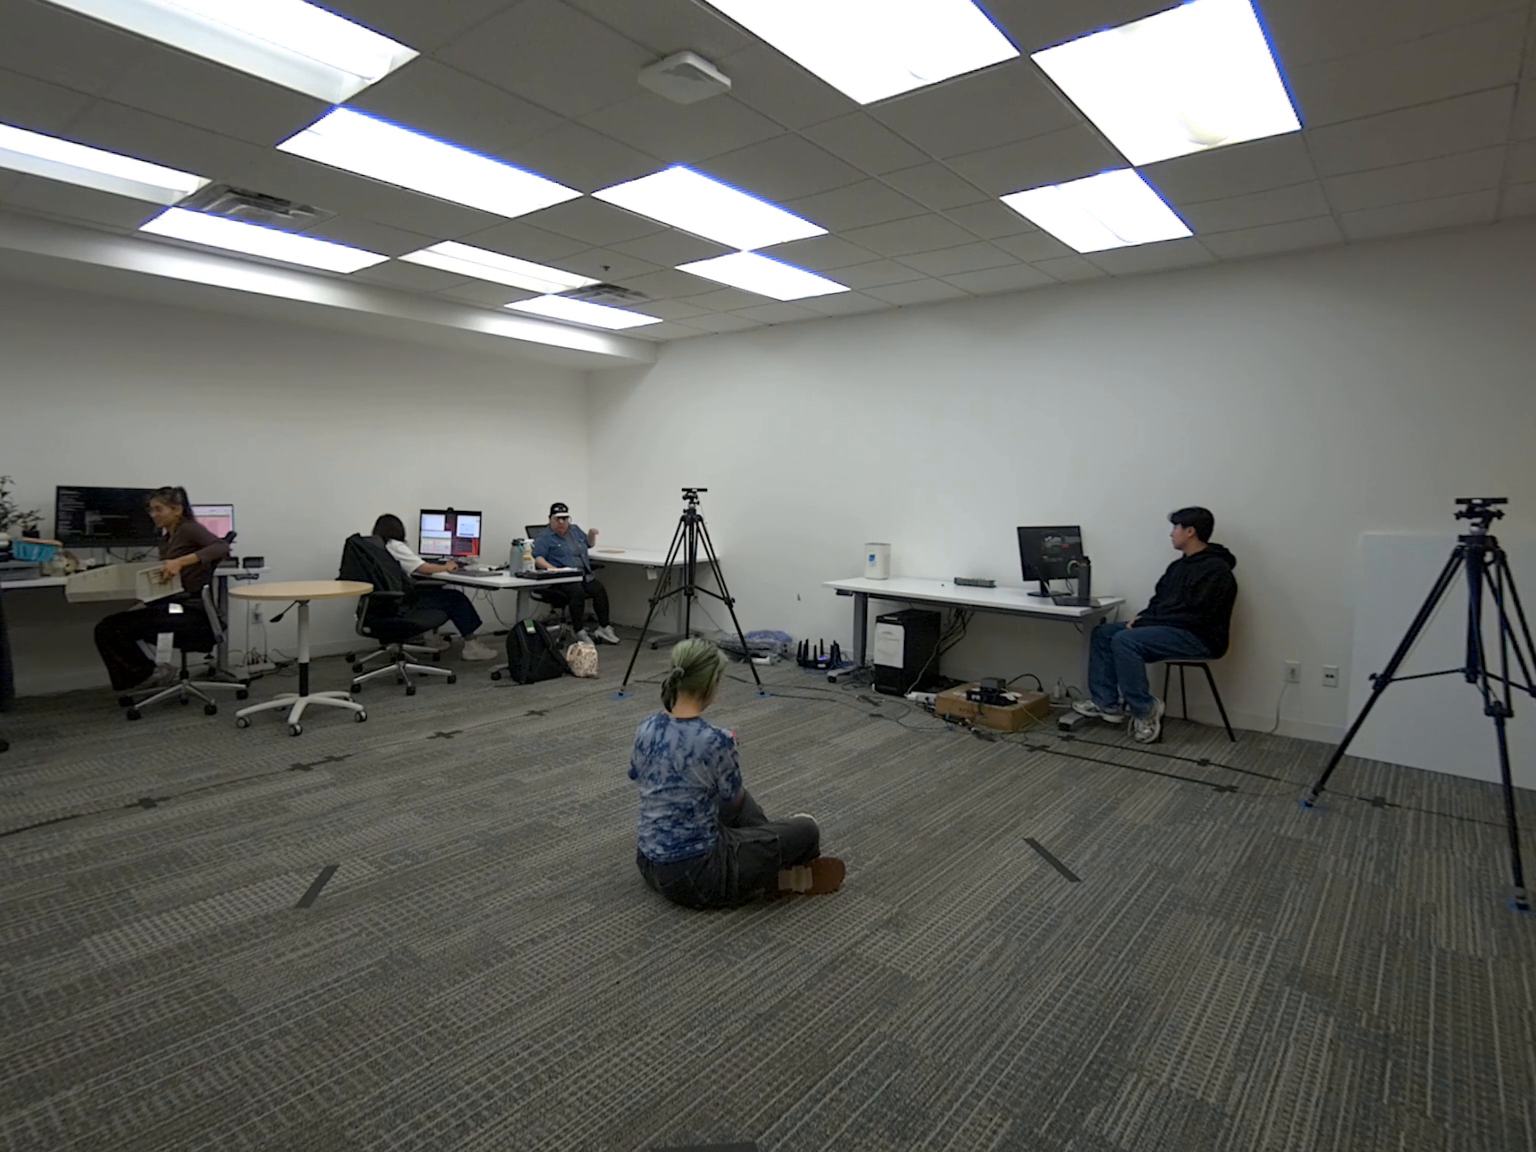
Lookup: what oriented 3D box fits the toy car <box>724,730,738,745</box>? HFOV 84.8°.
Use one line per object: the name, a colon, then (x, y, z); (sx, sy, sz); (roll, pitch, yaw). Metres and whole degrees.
toy car: (-0.217, 0.718, 3.369); (0.133, 0.081, 0.255); (6, 30, 20)
